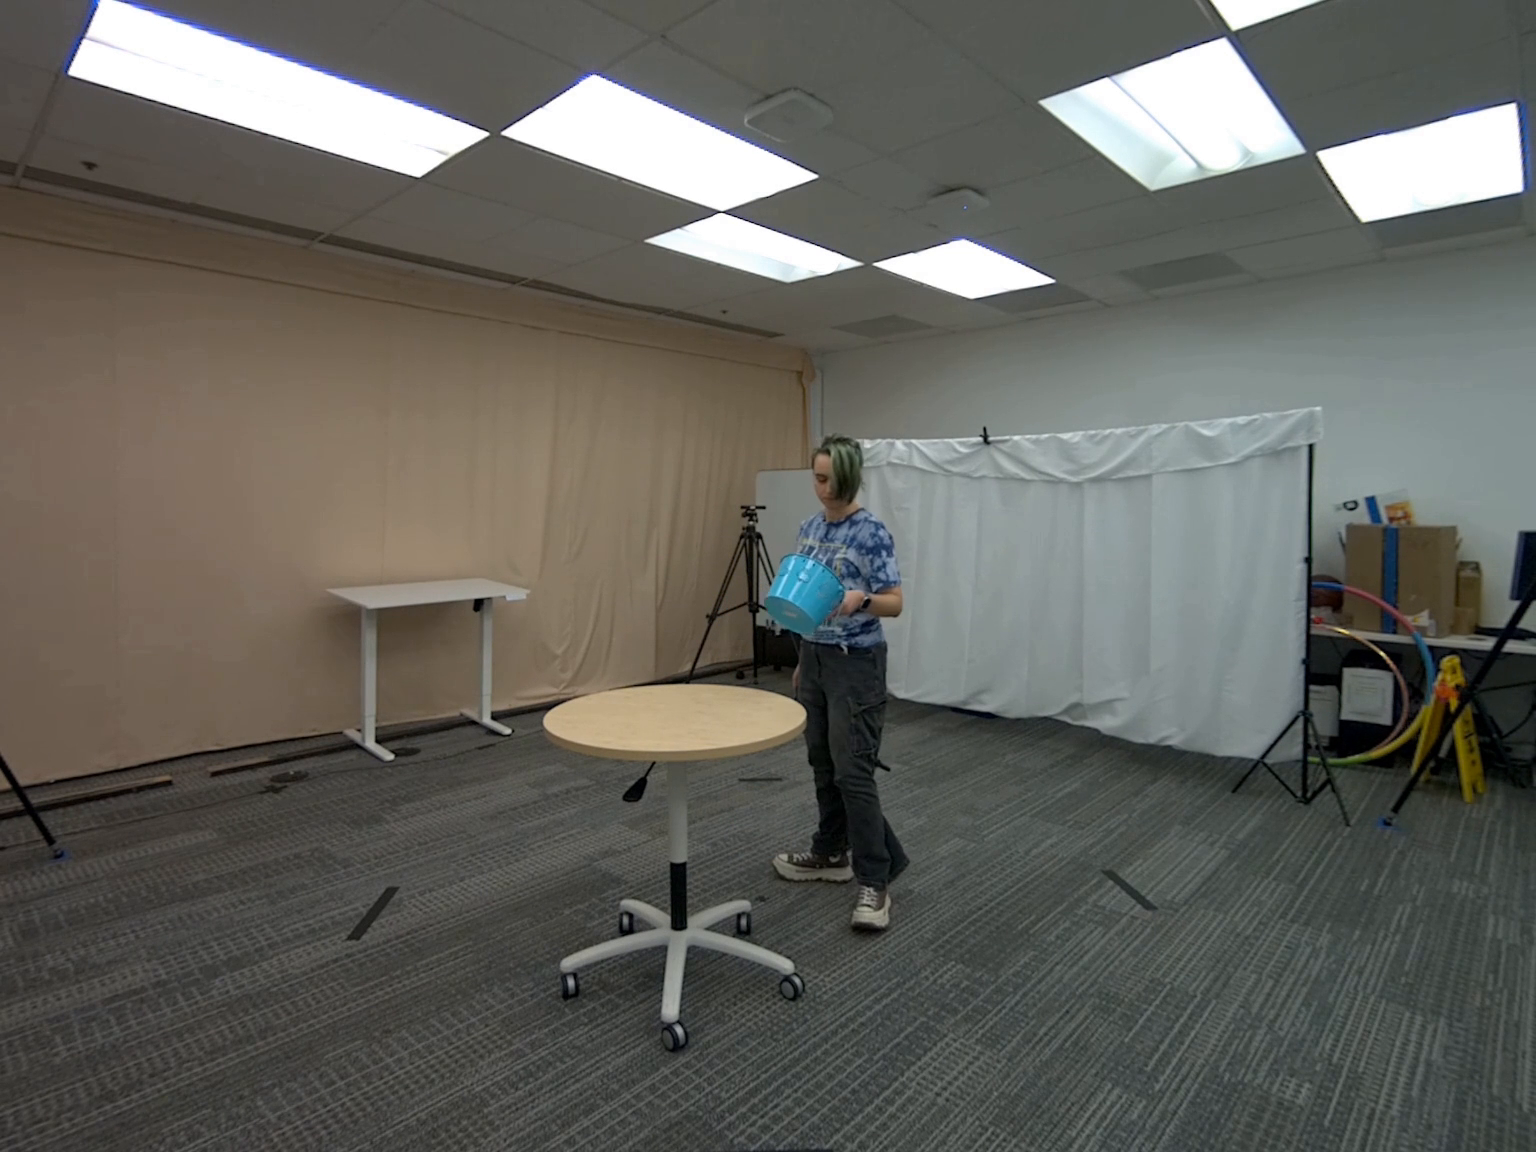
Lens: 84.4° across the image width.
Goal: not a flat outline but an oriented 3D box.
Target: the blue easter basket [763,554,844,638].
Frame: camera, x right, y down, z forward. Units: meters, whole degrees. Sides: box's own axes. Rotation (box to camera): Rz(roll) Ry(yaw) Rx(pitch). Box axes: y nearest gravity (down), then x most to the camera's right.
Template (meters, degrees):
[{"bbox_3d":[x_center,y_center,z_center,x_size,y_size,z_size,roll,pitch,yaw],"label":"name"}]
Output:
[{"bbox_3d":[0.111,0.076,2.607,0.248,0.155,0.240,28,-26,13],"label":"blue easter basket"}]
